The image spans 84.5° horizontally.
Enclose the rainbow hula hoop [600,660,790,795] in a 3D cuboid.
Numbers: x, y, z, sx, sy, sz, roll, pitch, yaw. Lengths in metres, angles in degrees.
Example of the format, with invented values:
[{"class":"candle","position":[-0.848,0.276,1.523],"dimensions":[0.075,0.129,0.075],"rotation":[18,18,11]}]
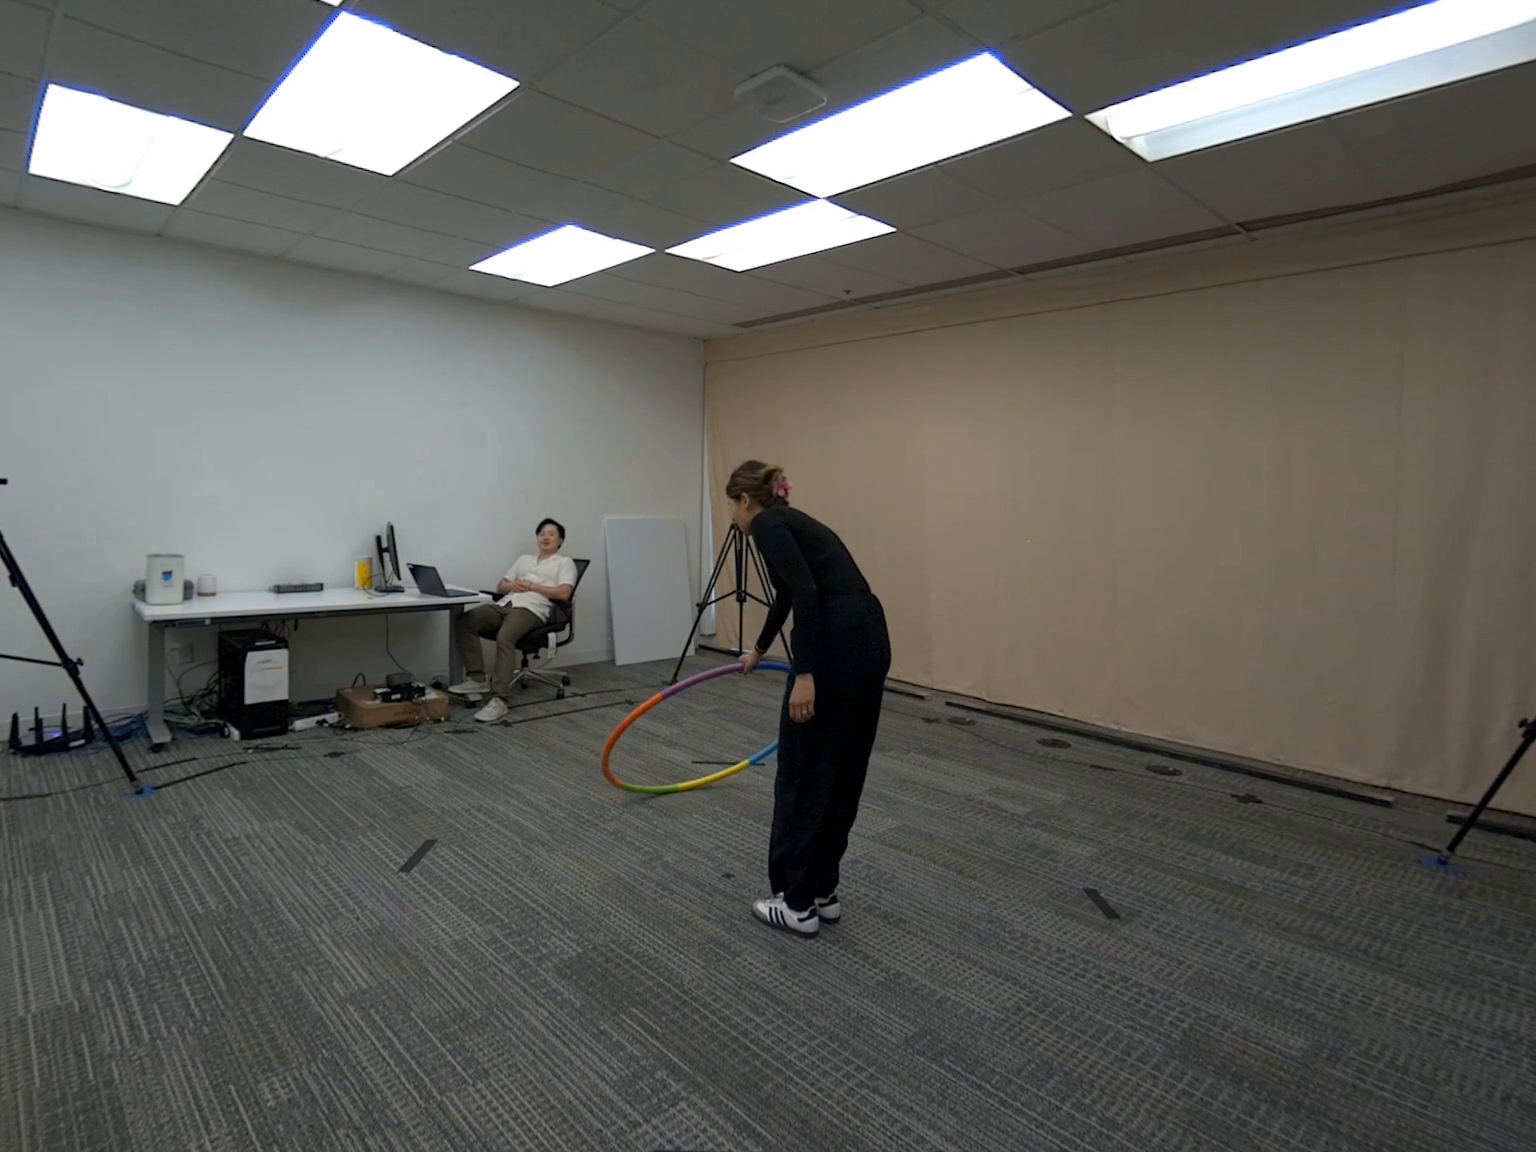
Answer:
[{"class":"rainbow hula hoop","position":[-0.249,0.685,3.671],"dimensions":[0.959,0.970,0.036],"rotation":[-1,49,-31]}]
